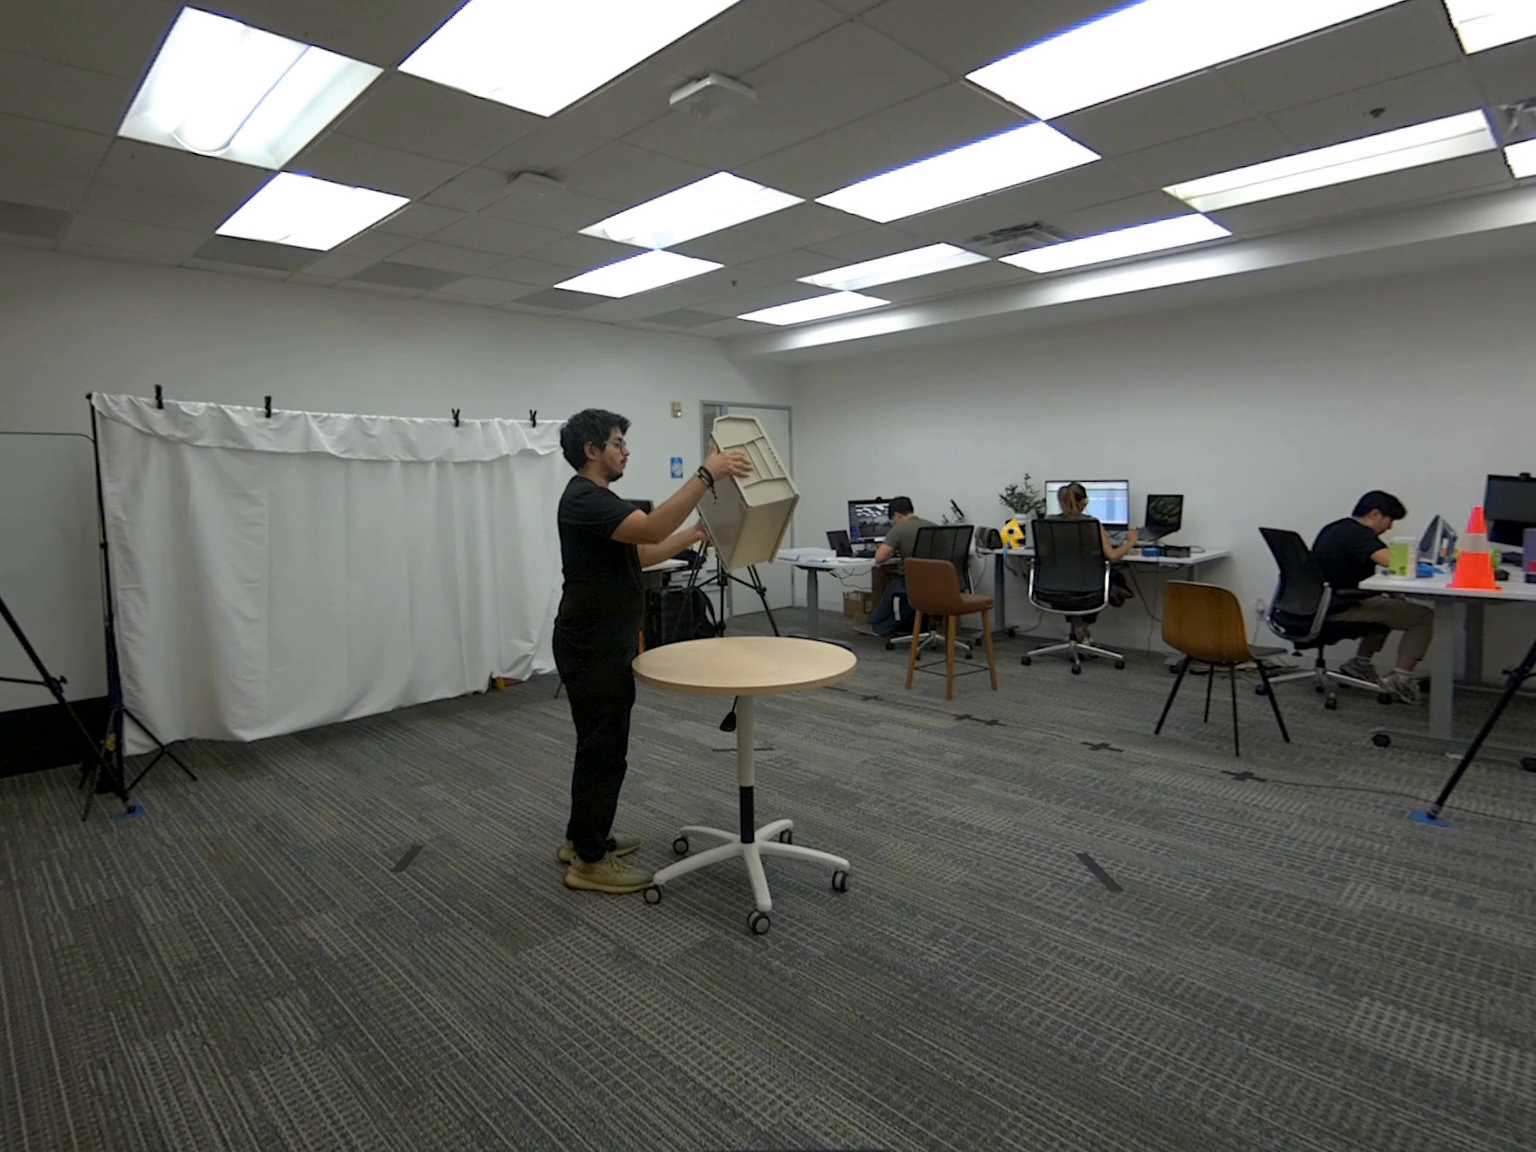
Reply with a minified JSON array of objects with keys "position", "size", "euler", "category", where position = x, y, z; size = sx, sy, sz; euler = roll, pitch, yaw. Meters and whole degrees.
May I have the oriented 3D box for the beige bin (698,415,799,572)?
[{"position":[-0.095,-0.278,2.944],"size":[0.186,0.389,0.416],"euler":[-14,-28,-22],"category":"beige bin"}]
